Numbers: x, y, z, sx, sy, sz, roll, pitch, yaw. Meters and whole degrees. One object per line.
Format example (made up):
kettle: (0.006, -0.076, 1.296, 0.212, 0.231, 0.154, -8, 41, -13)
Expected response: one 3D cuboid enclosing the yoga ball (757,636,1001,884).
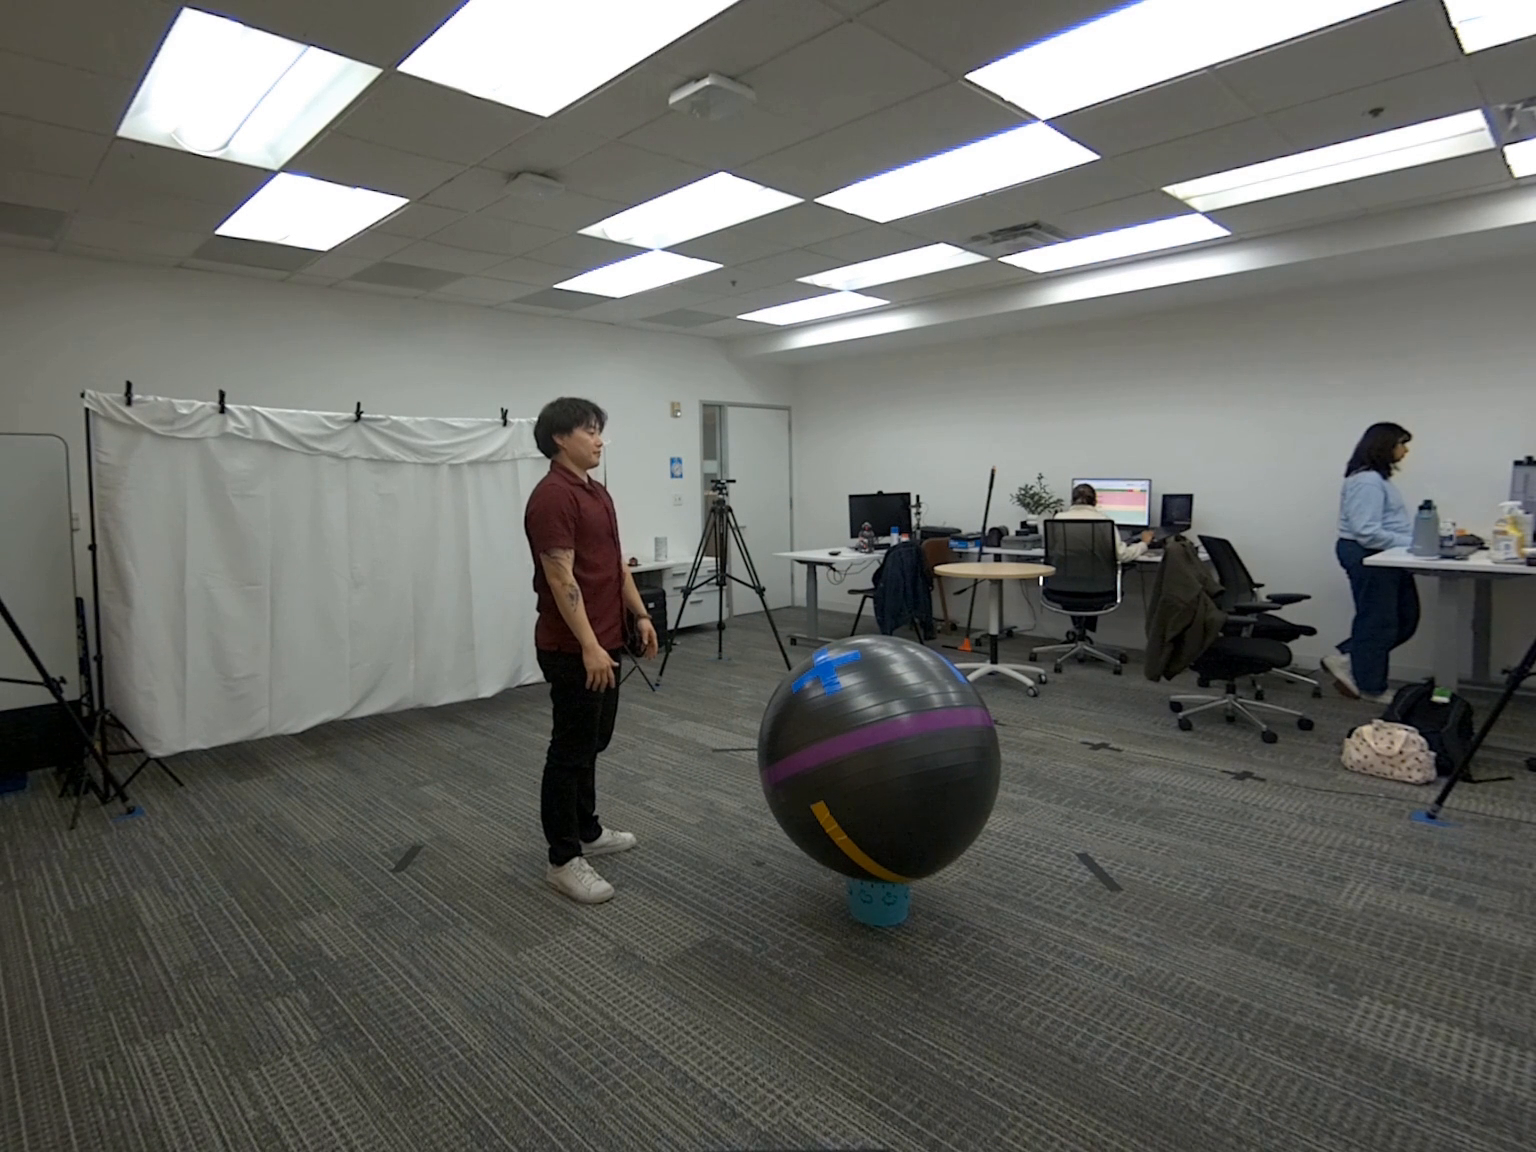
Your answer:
yoga ball: (0.346, 0.574, 2.716, 0.757, 0.755, 0.762, -1, 5, -2)
